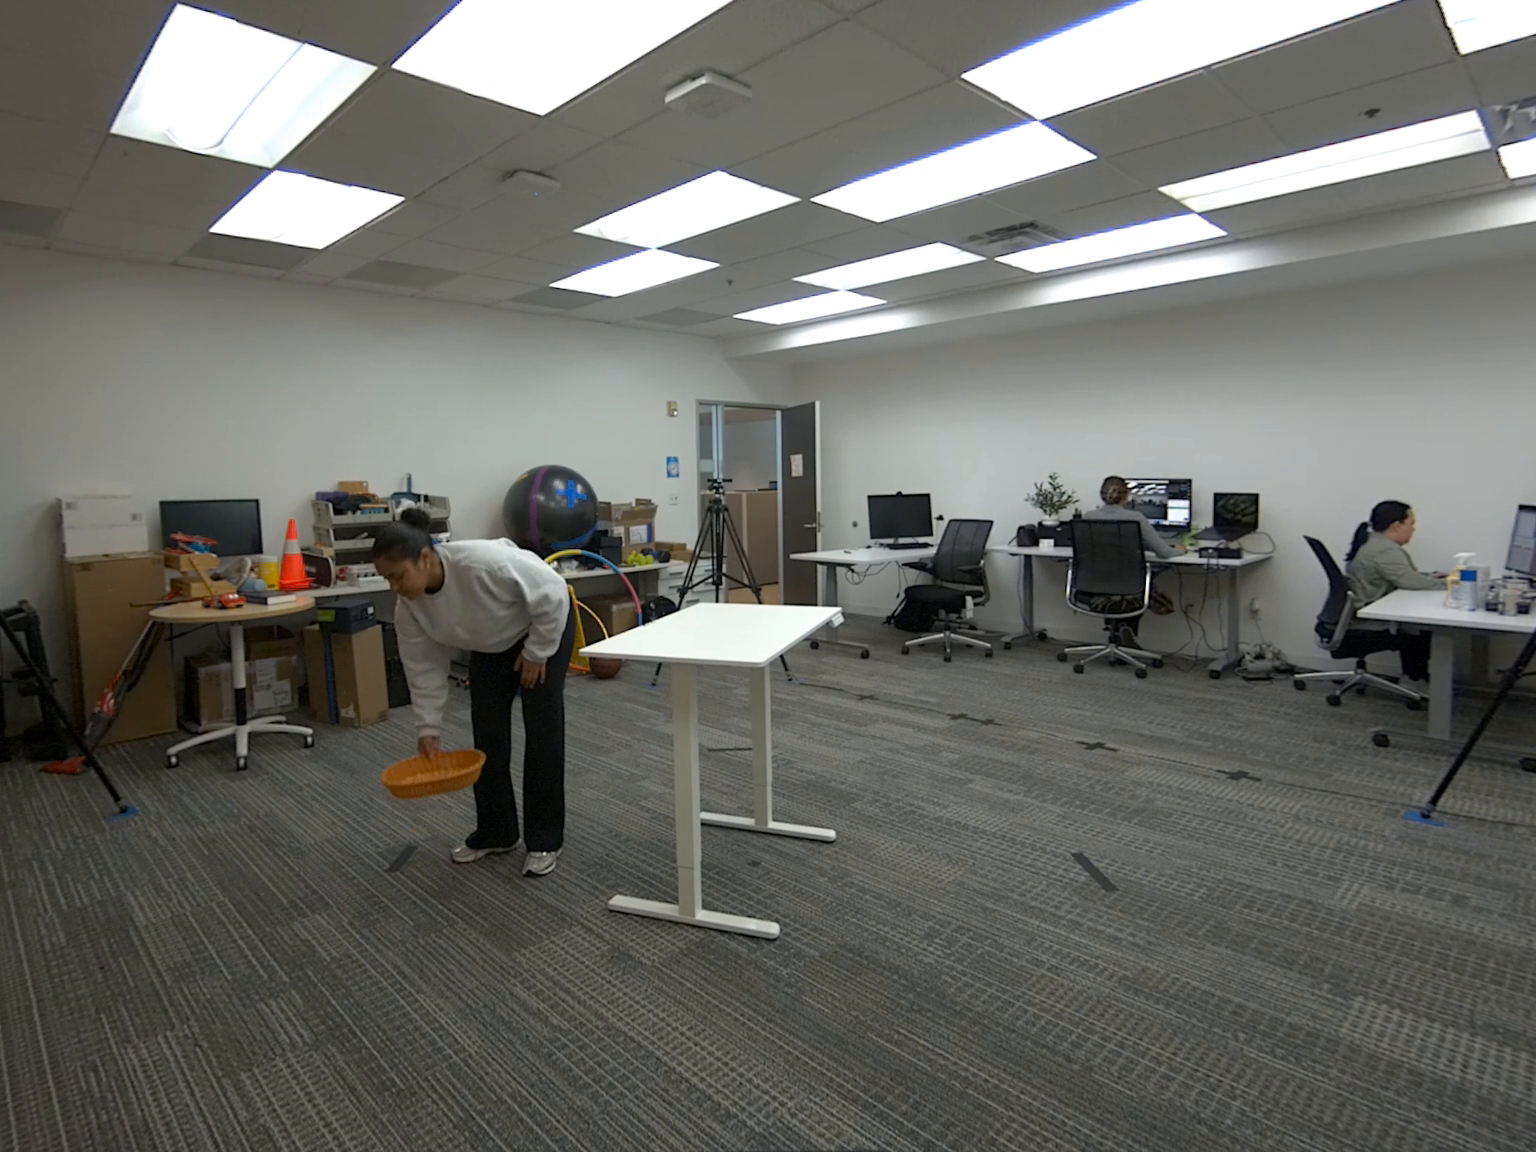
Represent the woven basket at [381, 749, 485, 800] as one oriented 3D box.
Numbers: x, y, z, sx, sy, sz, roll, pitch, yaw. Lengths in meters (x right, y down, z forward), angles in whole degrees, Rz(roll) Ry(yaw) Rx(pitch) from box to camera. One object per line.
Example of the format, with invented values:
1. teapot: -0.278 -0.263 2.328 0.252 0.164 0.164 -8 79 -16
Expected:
1. woven basket: -1.152 0.685 2.916 0.347 0.073 0.257 -7 12 -11
